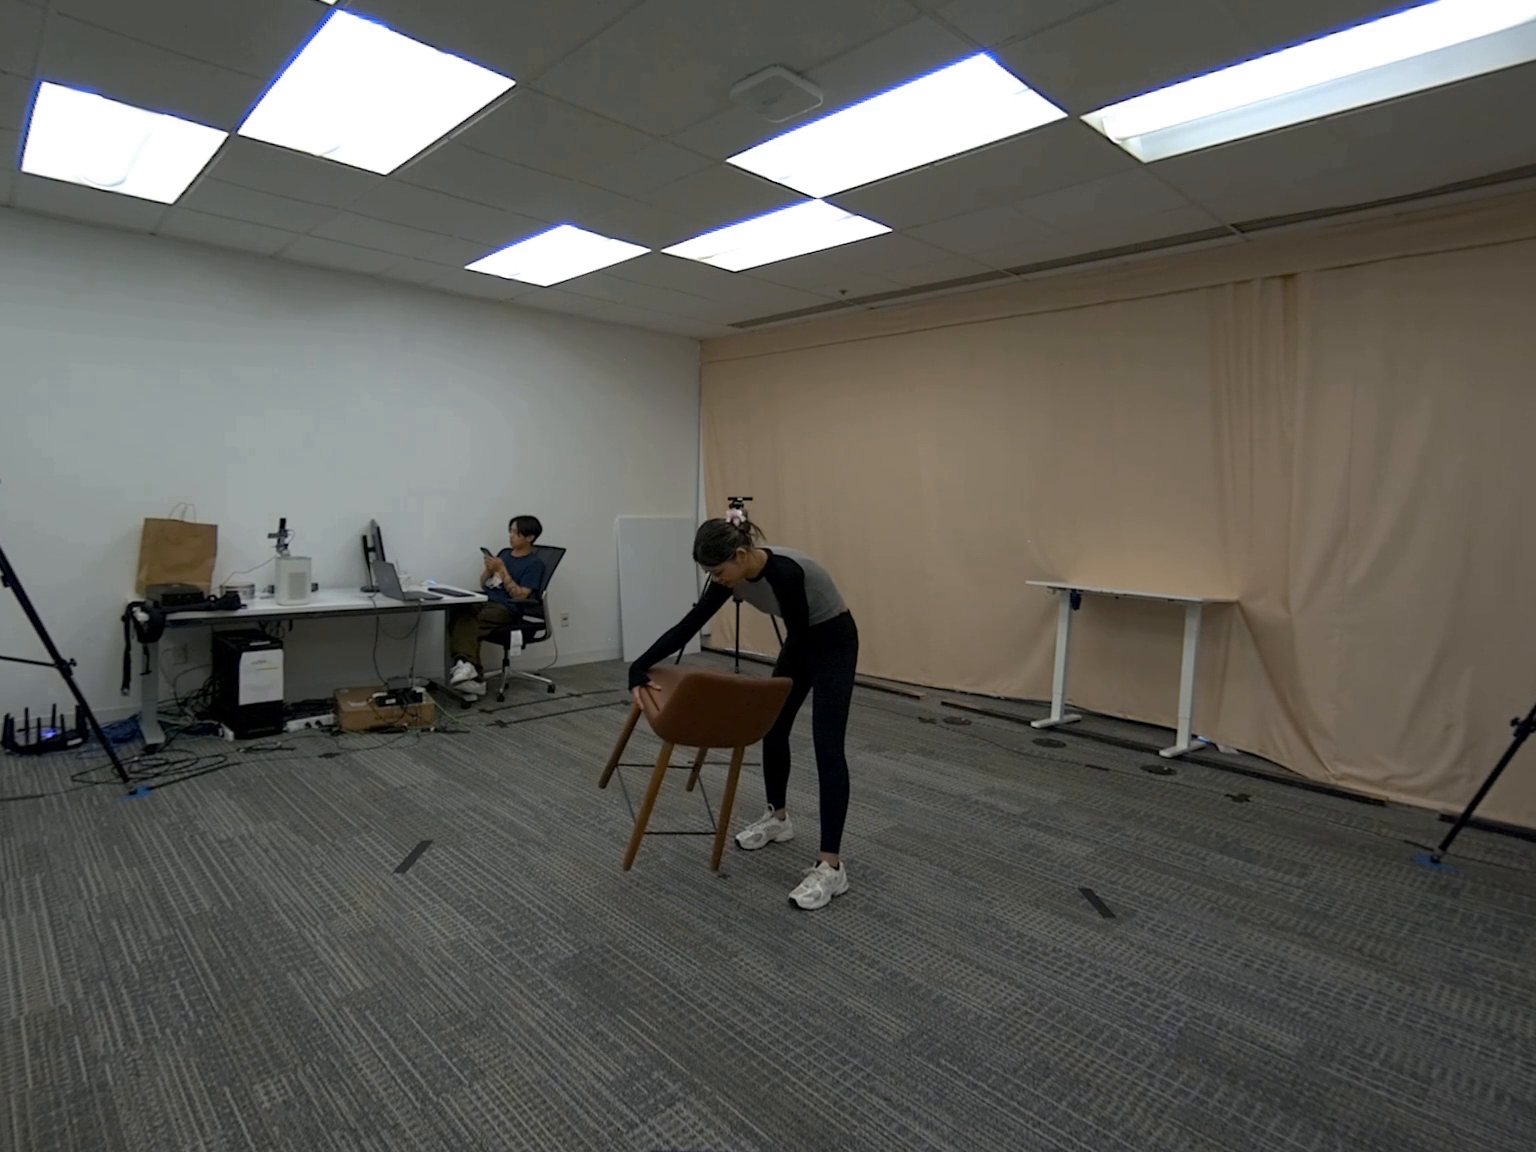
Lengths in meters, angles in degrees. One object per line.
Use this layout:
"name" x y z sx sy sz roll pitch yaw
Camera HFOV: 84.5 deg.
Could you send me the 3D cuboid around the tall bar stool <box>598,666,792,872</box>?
"tall bar stool" -0.299 0.609 3.100 0.447 0.881 0.481 9 25 -25
